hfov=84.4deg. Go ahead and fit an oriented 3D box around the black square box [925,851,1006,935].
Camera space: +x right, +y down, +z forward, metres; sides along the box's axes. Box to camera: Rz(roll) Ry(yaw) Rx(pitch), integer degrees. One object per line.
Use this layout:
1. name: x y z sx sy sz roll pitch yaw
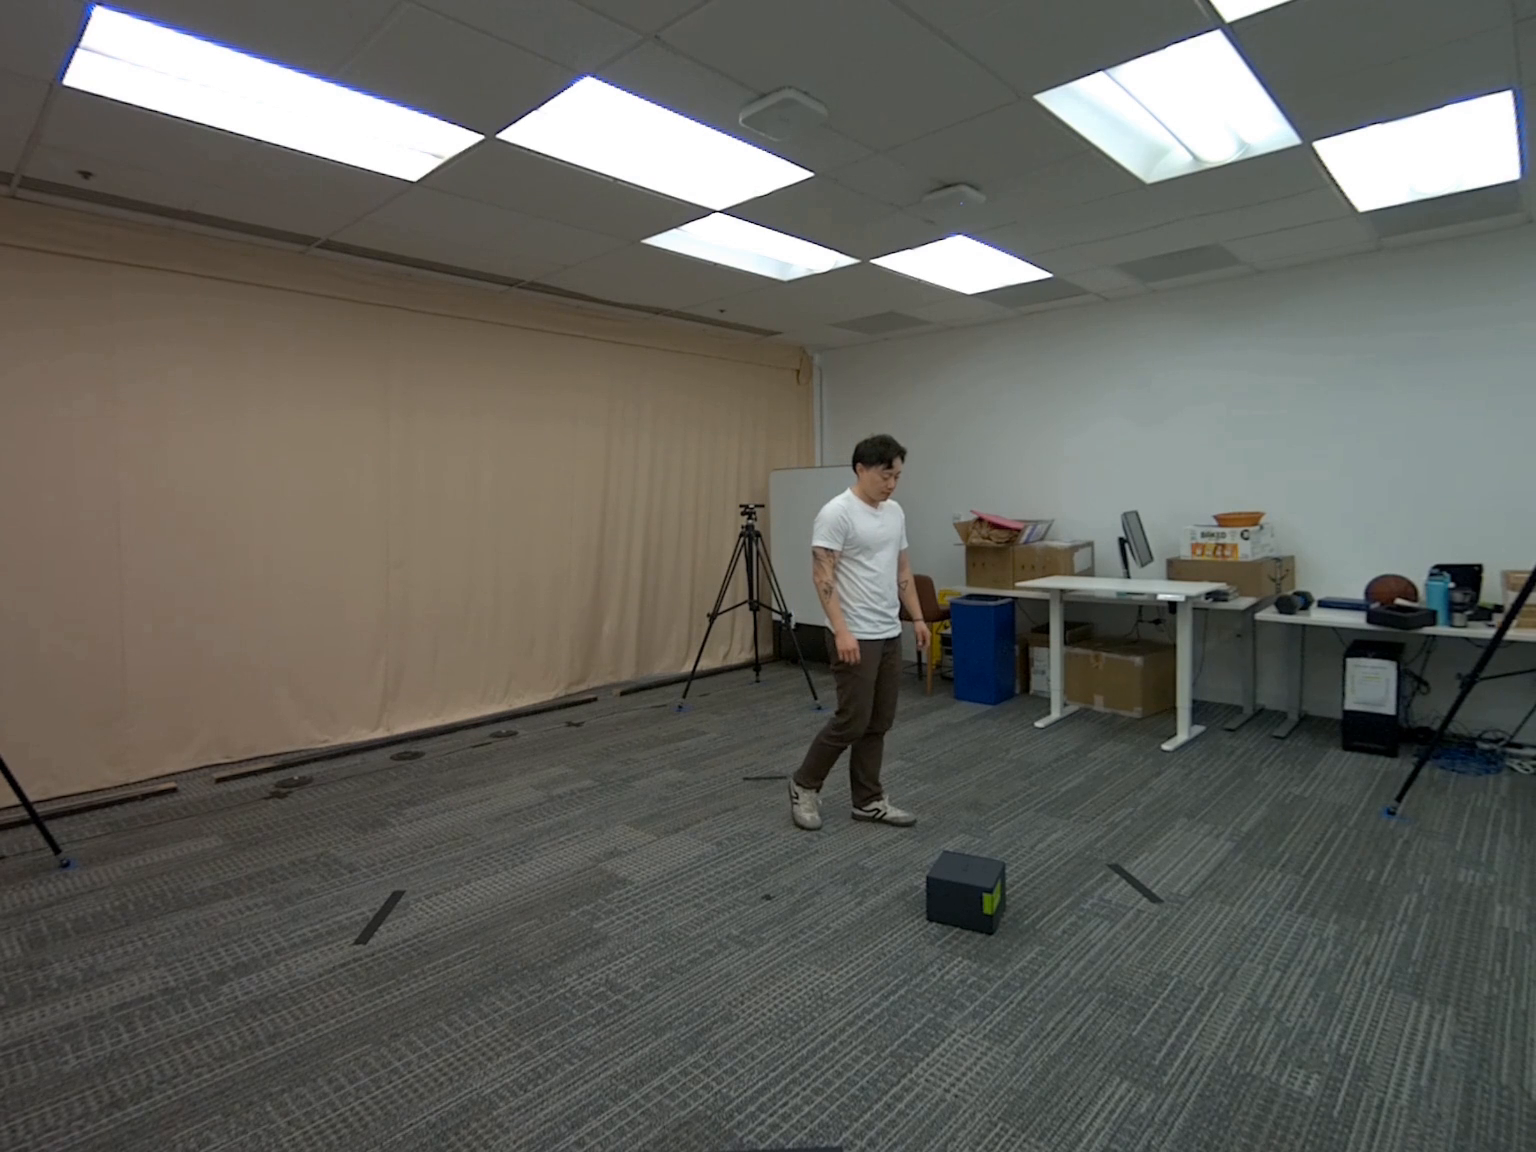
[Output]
1. black square box: 0.670 1.054 2.832 0.223 0.155 0.222 1 5 26
